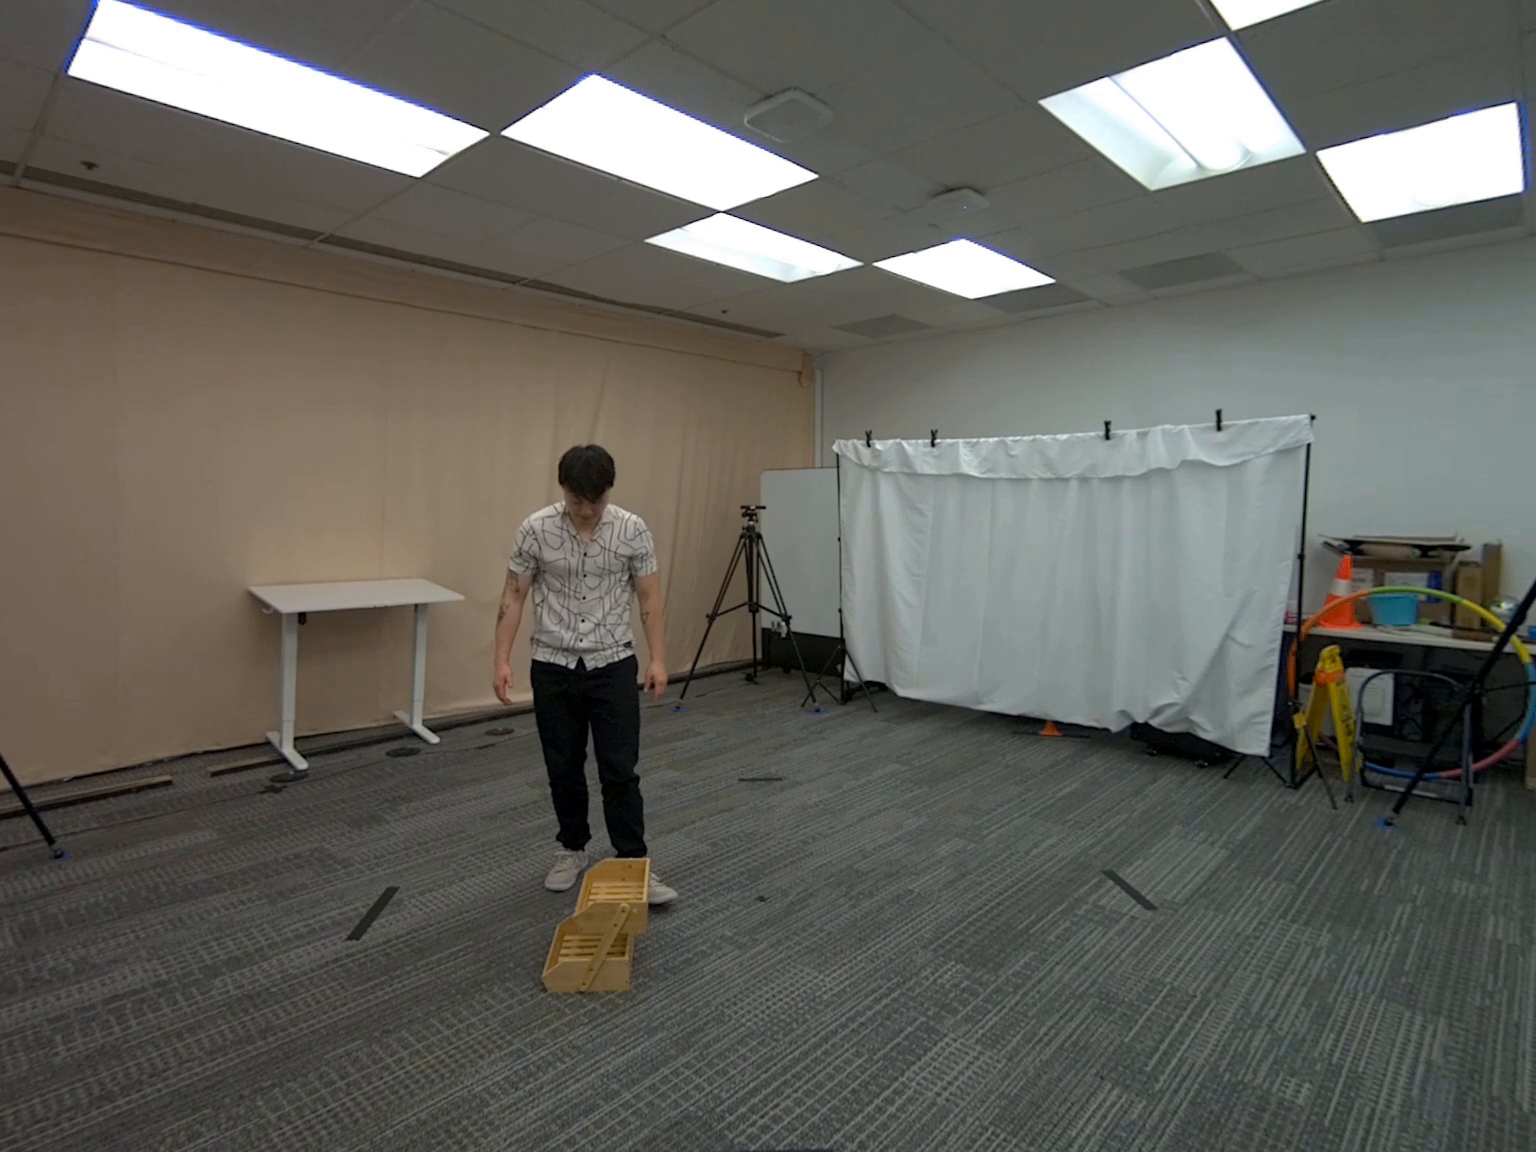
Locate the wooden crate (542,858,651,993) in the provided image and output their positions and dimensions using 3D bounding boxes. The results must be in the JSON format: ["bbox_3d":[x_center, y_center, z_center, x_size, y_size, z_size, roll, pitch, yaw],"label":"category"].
[{"bbox_3d":[-0.521,1.051,2.553,0.300,0.273,0.327,-1,4,-6],"label":"wooden crate"}]
